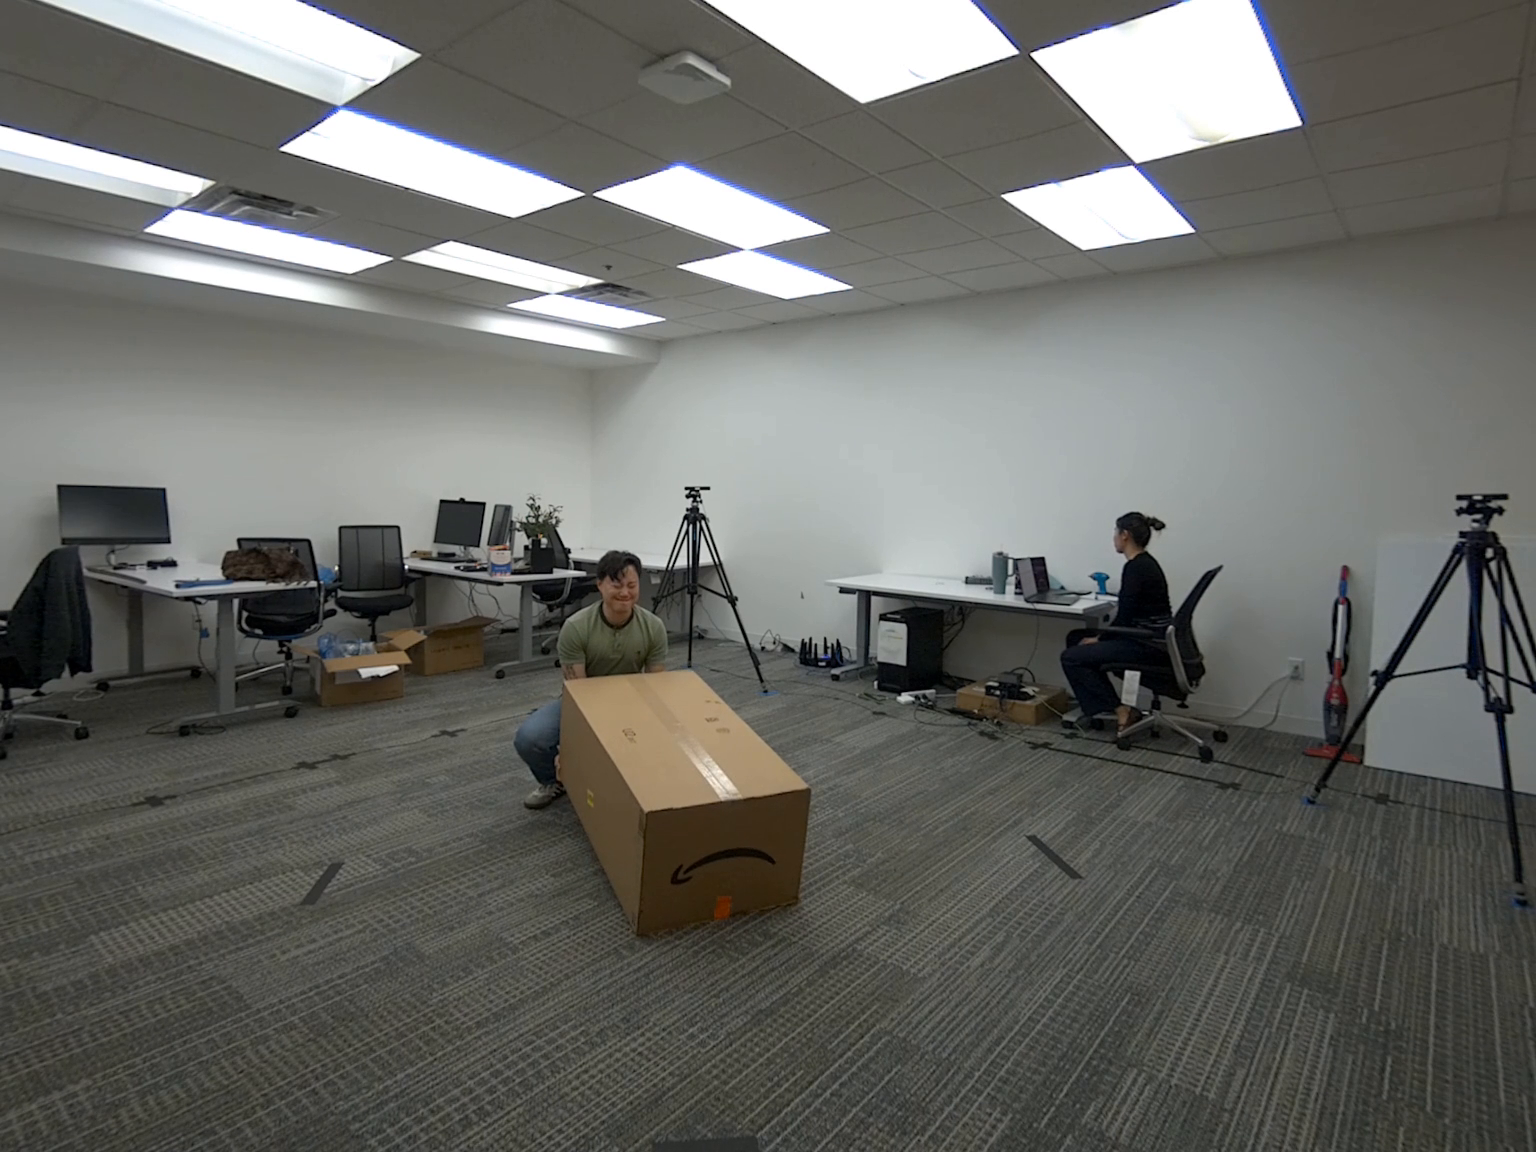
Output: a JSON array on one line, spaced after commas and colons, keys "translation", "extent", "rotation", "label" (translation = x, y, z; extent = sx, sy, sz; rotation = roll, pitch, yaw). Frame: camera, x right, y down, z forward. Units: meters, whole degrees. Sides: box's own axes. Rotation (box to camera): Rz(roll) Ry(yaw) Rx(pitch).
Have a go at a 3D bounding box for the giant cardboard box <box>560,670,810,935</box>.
[{"translation": [-0.373, 0.750, 3.139], "extent": [0.563, 0.421, 1.063], "rotation": [-2, 16, -27], "label": "giant cardboard box"}]
